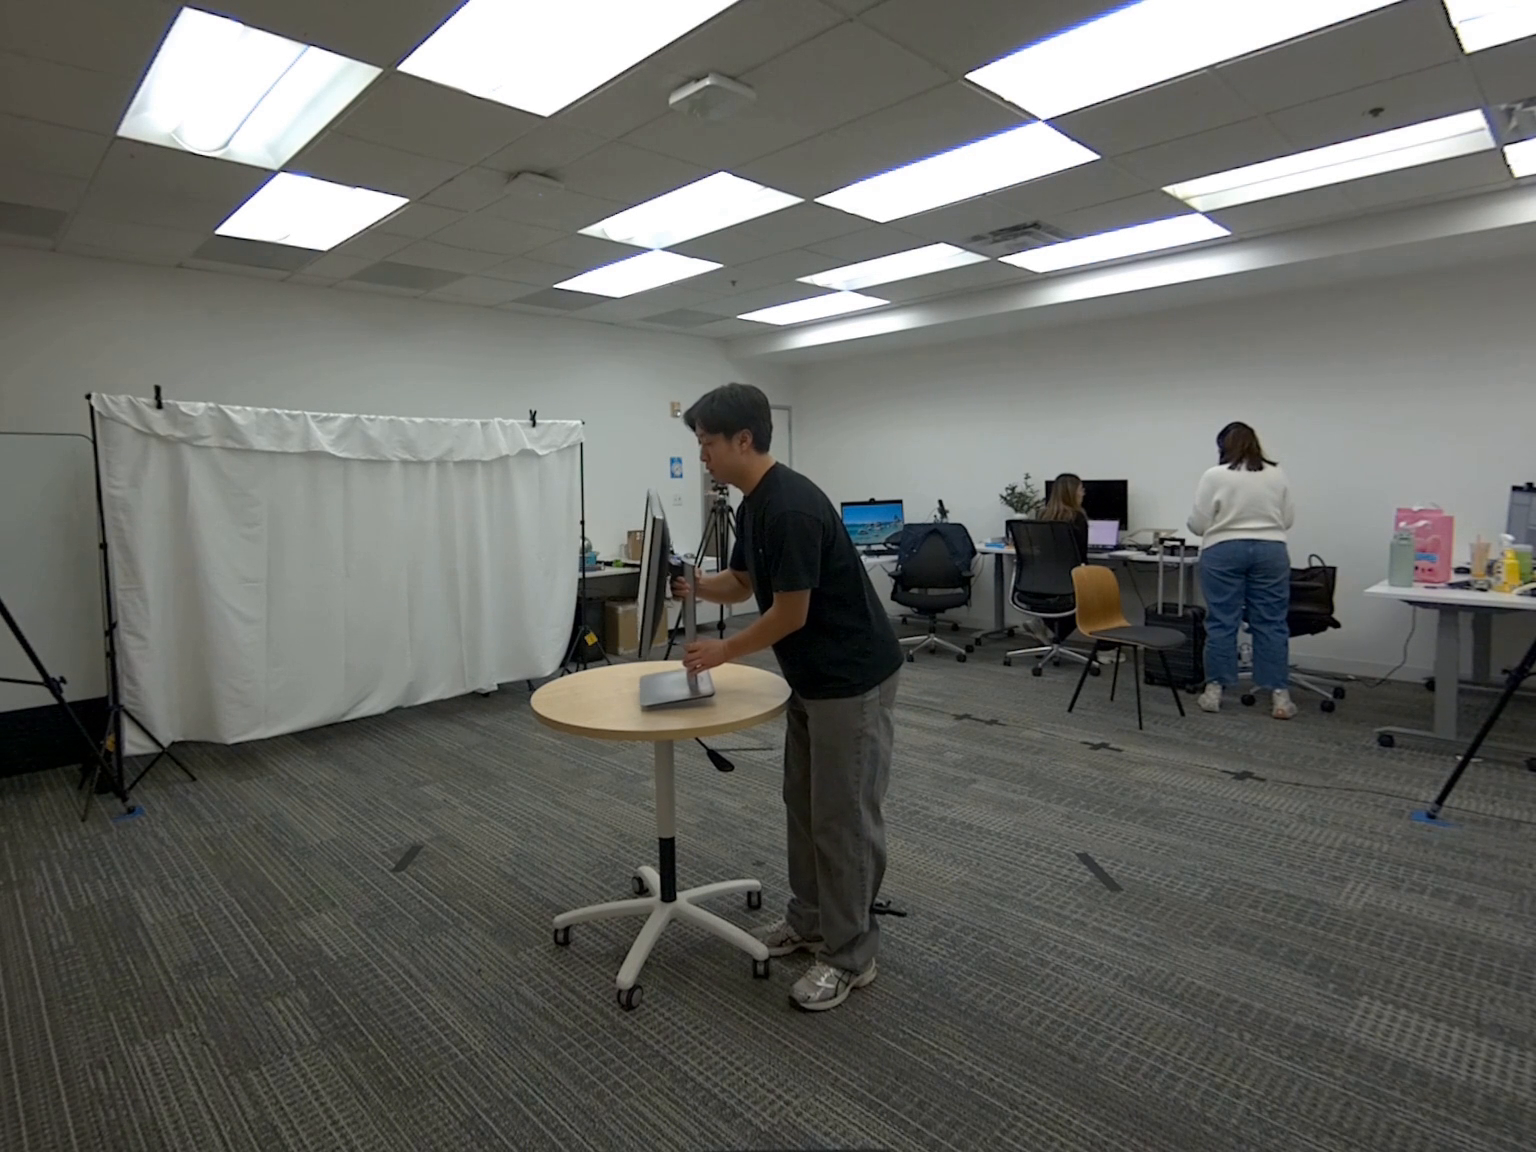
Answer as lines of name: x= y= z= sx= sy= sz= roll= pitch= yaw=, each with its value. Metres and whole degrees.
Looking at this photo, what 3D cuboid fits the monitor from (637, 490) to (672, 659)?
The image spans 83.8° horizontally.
monitor: x=-0.292 y=0.069 z=2.380 sx=0.222 sy=0.559 sz=0.570 roll=-9 pitch=12 yaw=-4
